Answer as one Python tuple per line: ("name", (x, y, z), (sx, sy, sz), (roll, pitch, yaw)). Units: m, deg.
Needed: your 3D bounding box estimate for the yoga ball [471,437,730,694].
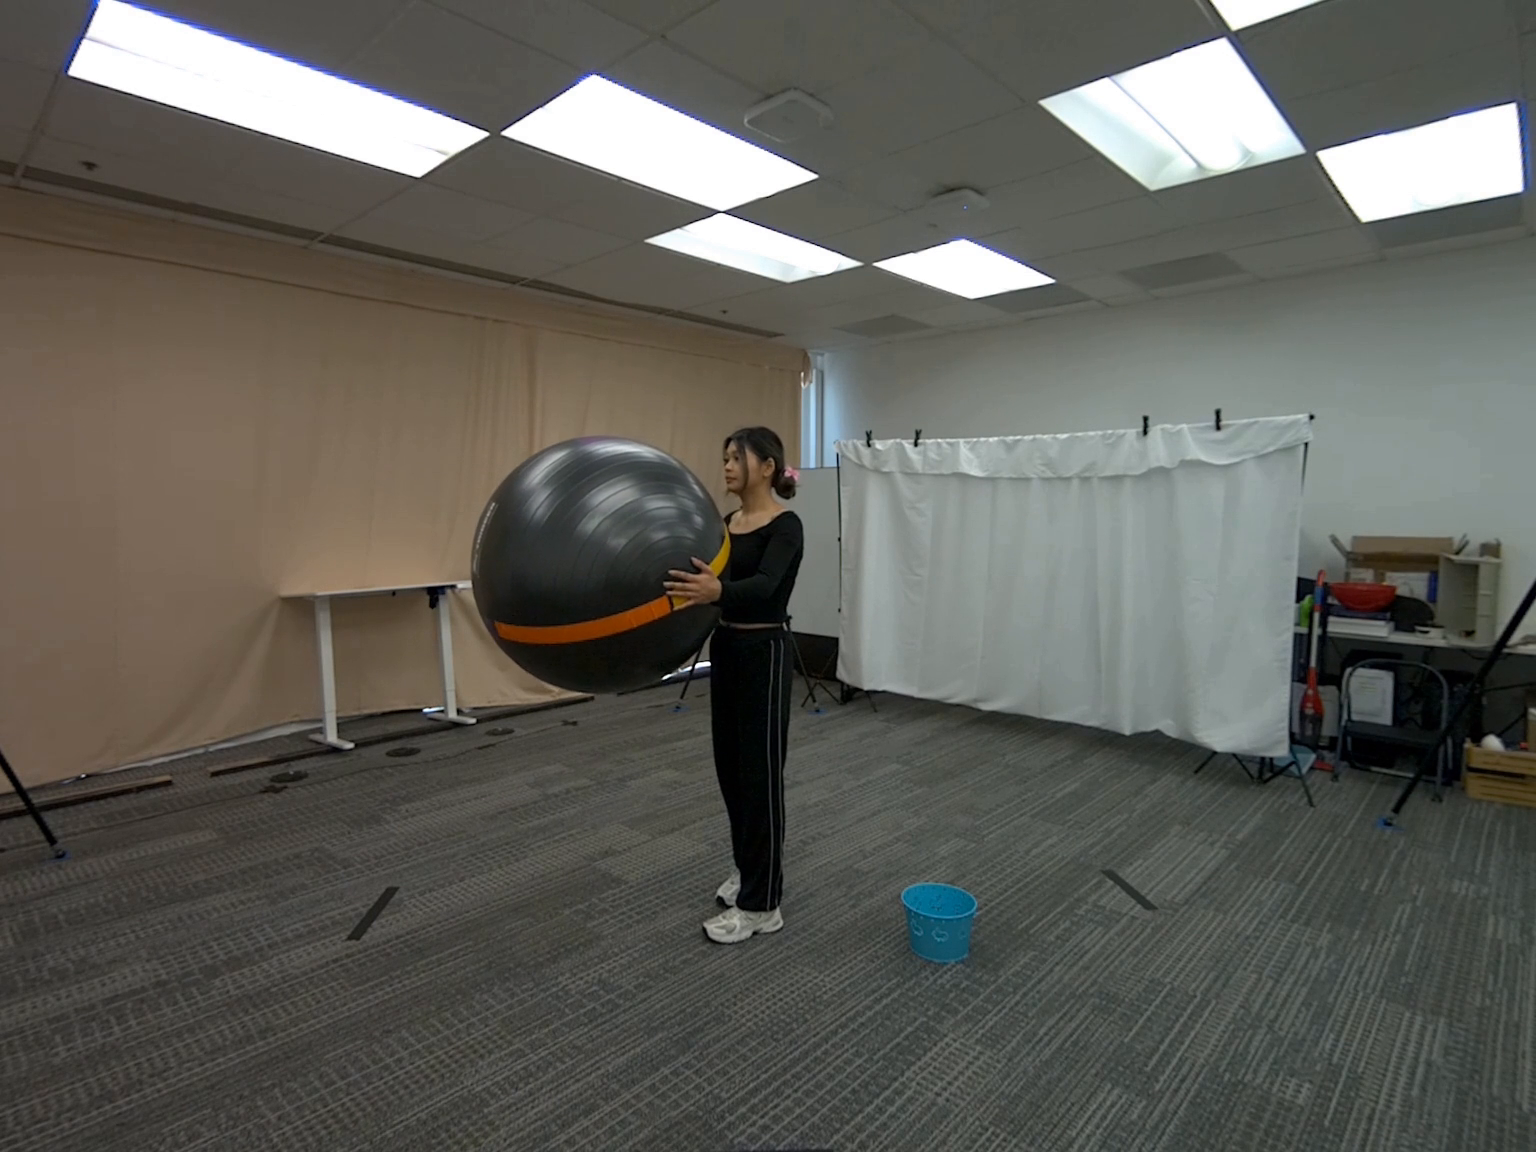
("yoga ball", (-0.494, -0.040, 2.488), (0.757, 0.756, 0.760), (0, 4, -2))
